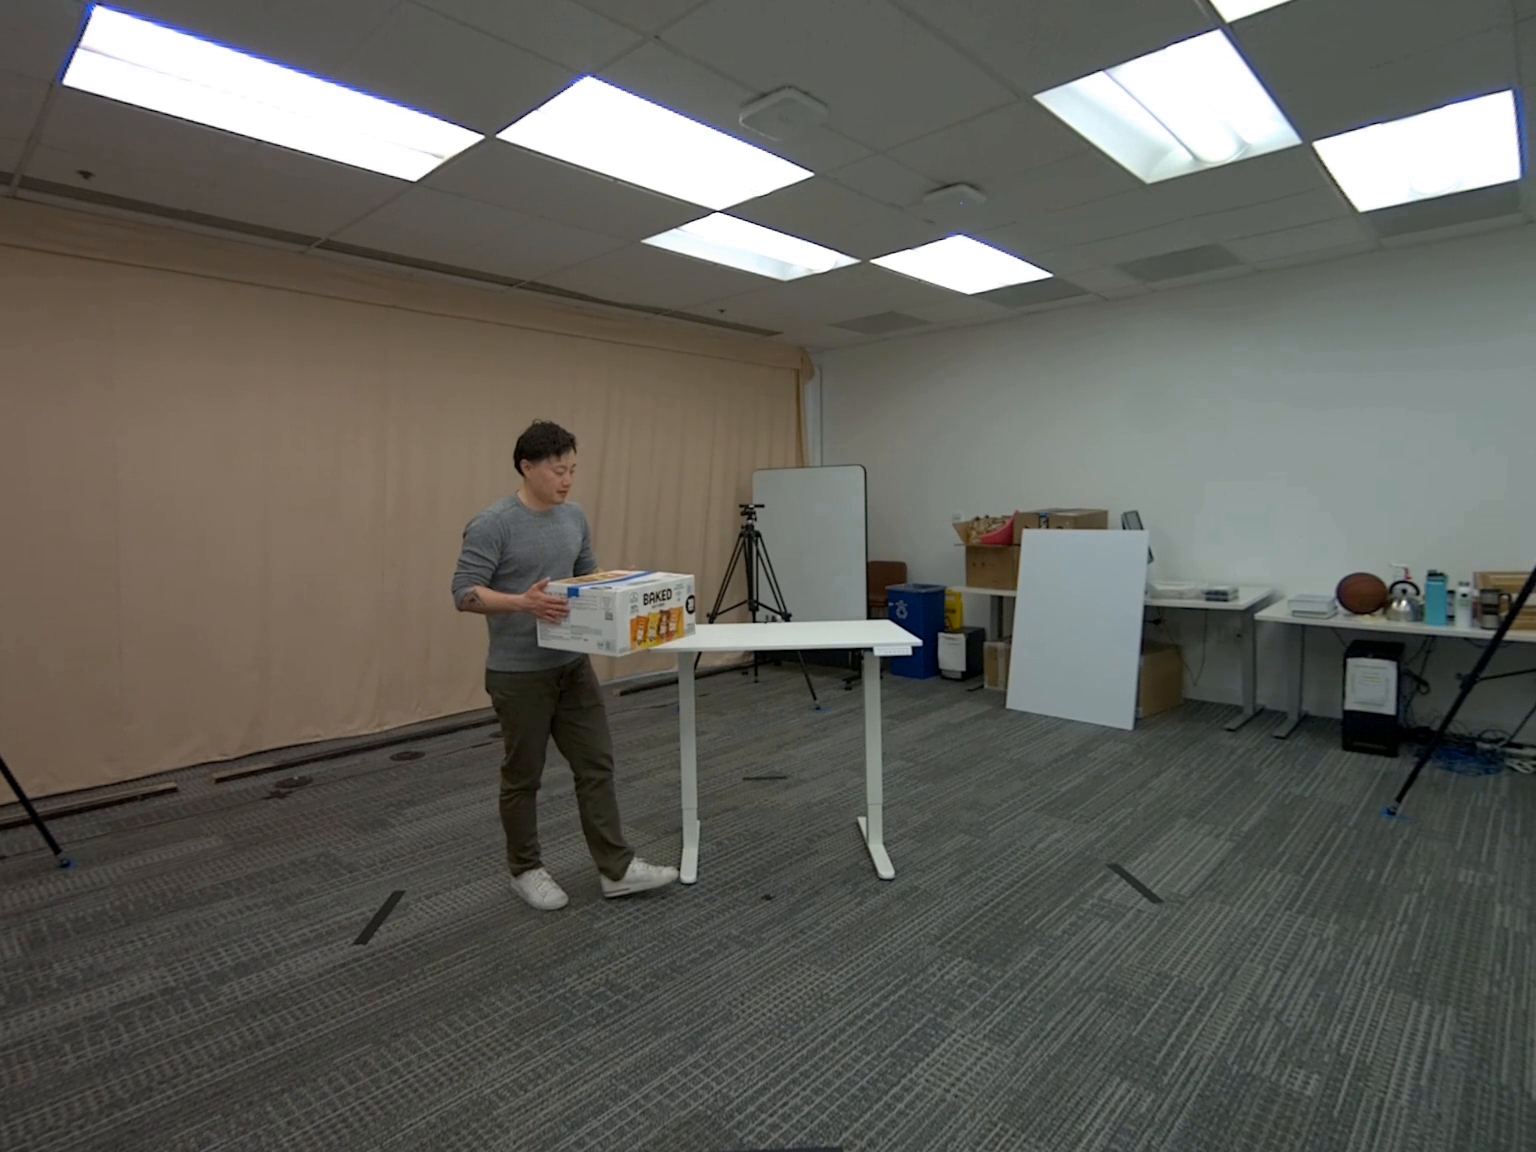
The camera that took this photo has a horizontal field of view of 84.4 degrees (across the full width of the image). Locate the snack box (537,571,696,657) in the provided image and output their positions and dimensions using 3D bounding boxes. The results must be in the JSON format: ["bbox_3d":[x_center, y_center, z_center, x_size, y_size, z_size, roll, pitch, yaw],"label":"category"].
[{"bbox_3d":[-0.482,0.109,2.748,0.350,0.205,0.394,3,7,32],"label":"snack box"}]
